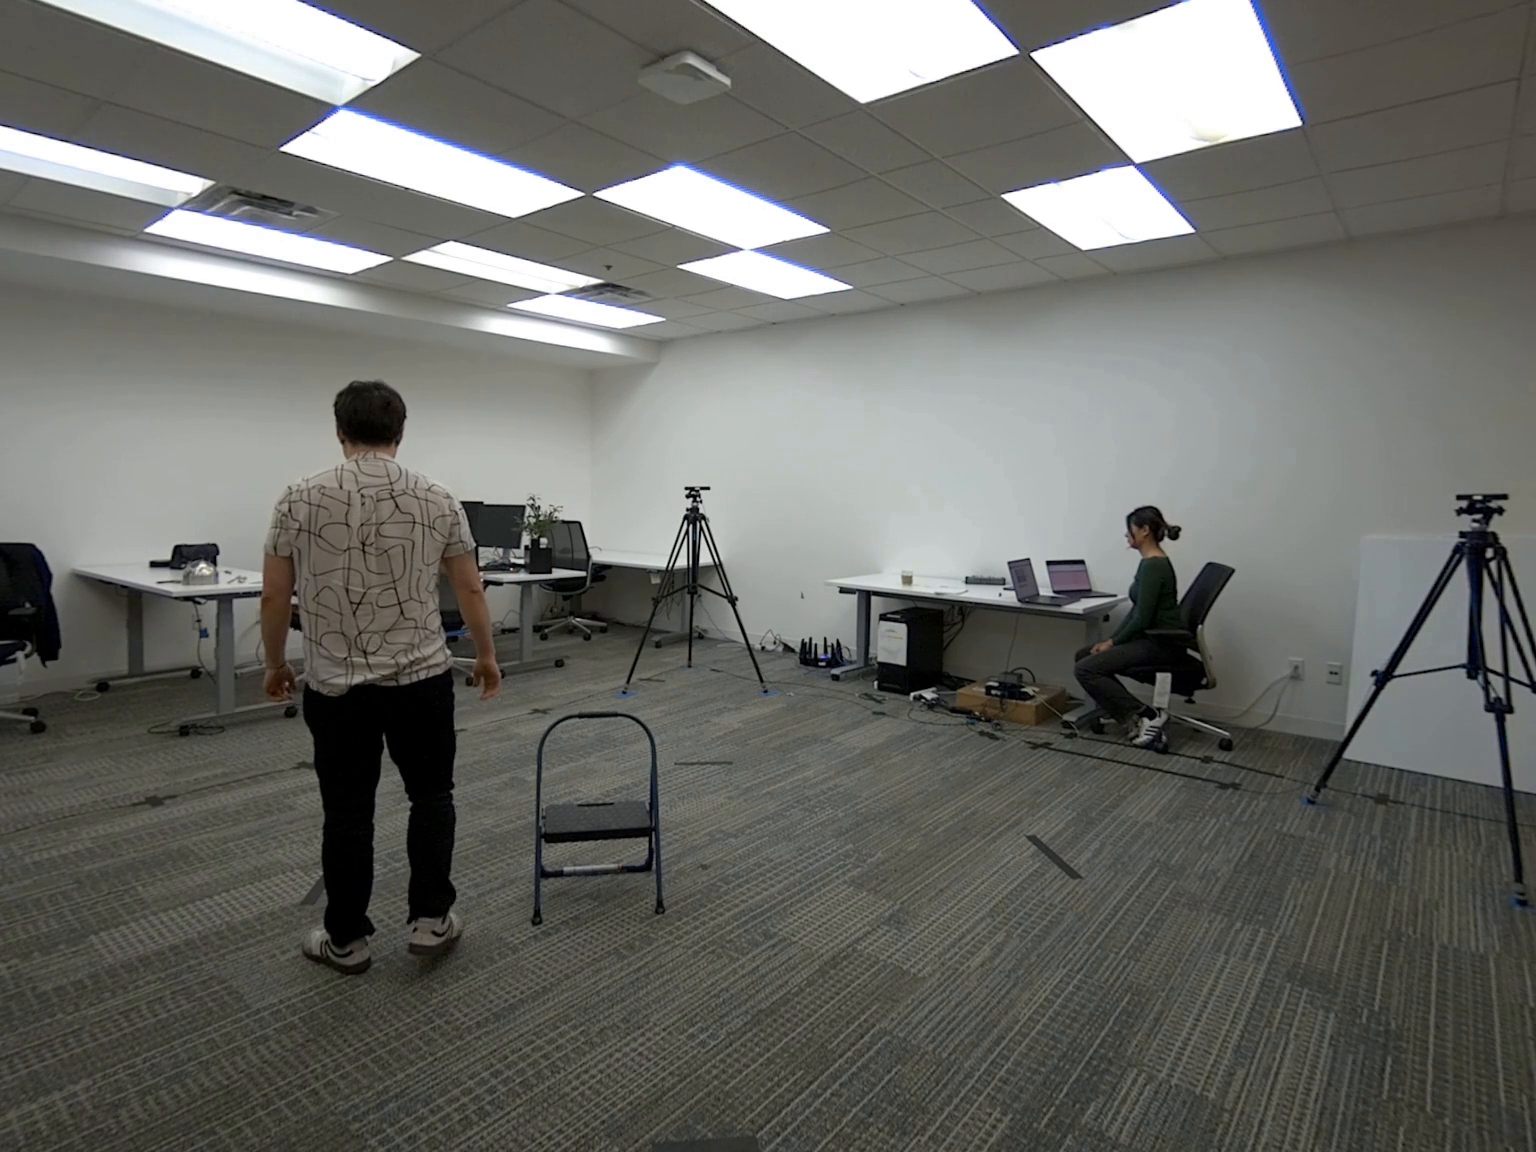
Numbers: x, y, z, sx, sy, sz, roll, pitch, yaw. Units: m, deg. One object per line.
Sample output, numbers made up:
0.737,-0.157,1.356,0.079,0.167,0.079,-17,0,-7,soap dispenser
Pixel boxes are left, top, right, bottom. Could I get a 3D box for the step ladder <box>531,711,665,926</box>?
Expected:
-0.587,0.781,2.888,0.425,0.604,0.355,0,4,-13,step ladder
